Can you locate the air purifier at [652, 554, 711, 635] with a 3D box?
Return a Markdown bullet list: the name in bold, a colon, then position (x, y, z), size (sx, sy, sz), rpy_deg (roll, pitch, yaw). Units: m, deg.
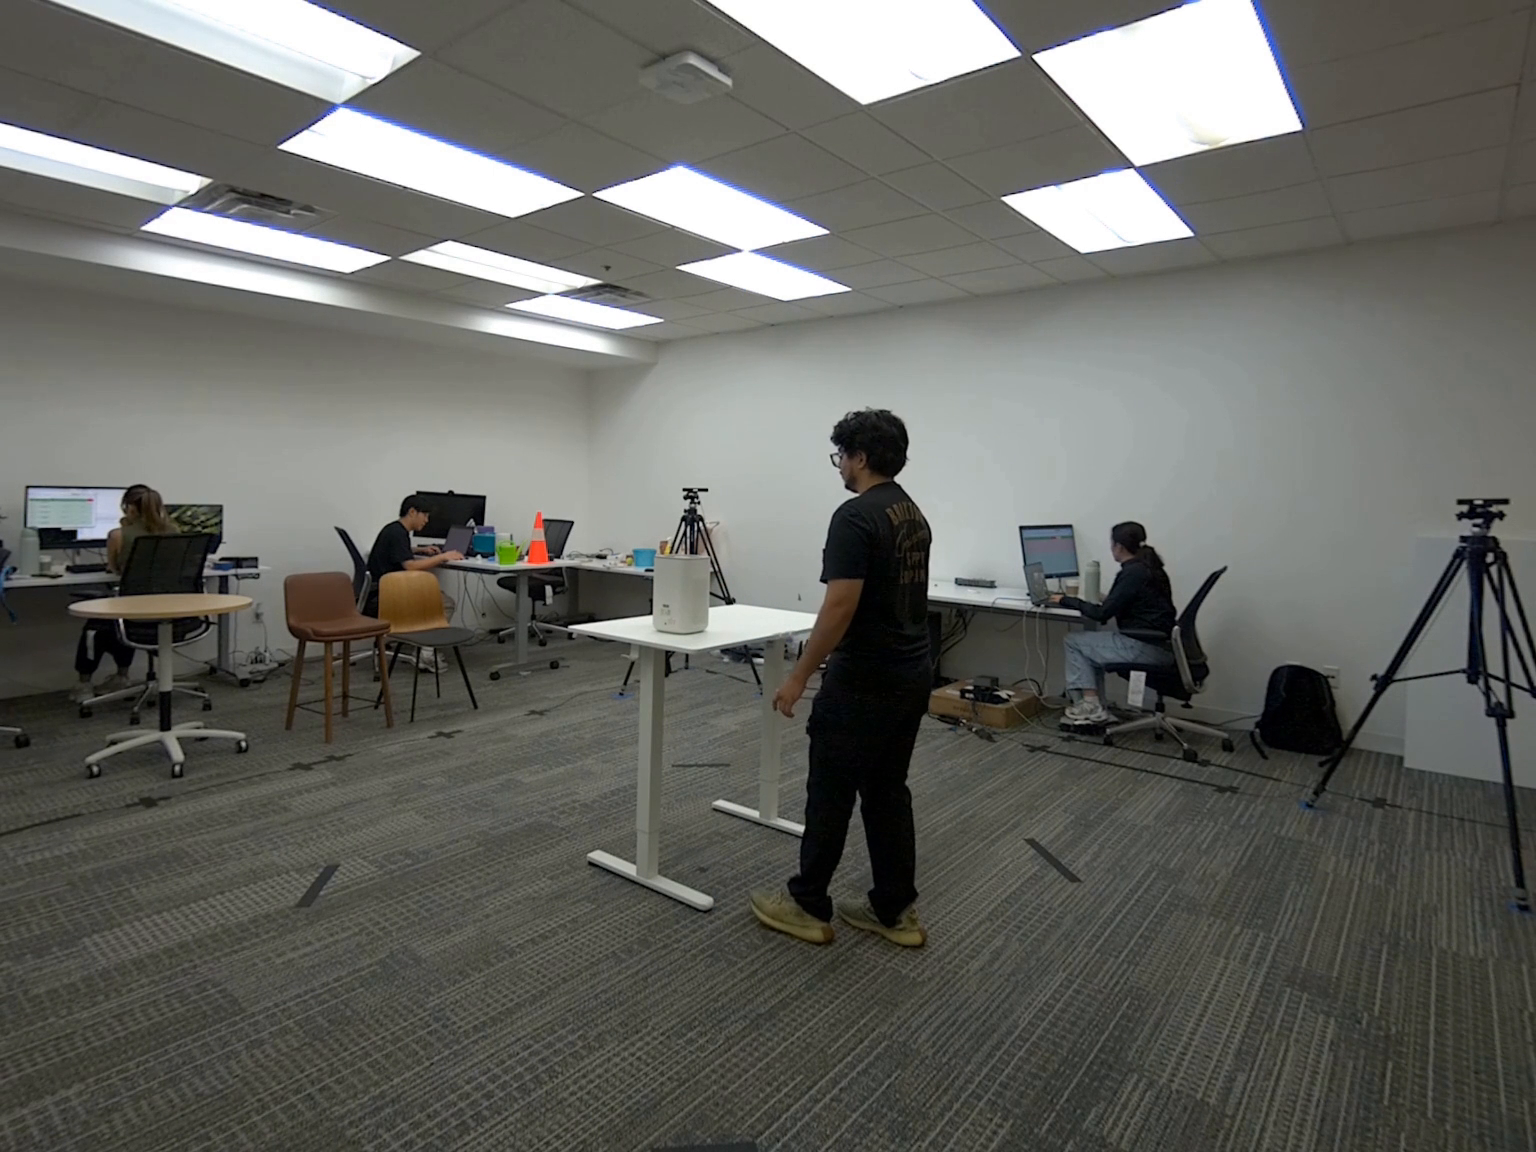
- **air purifier**: position (-0.316, 0.060, 3.003), size (0.176, 0.265, 0.167), rpy_deg (4, 4, 32)
